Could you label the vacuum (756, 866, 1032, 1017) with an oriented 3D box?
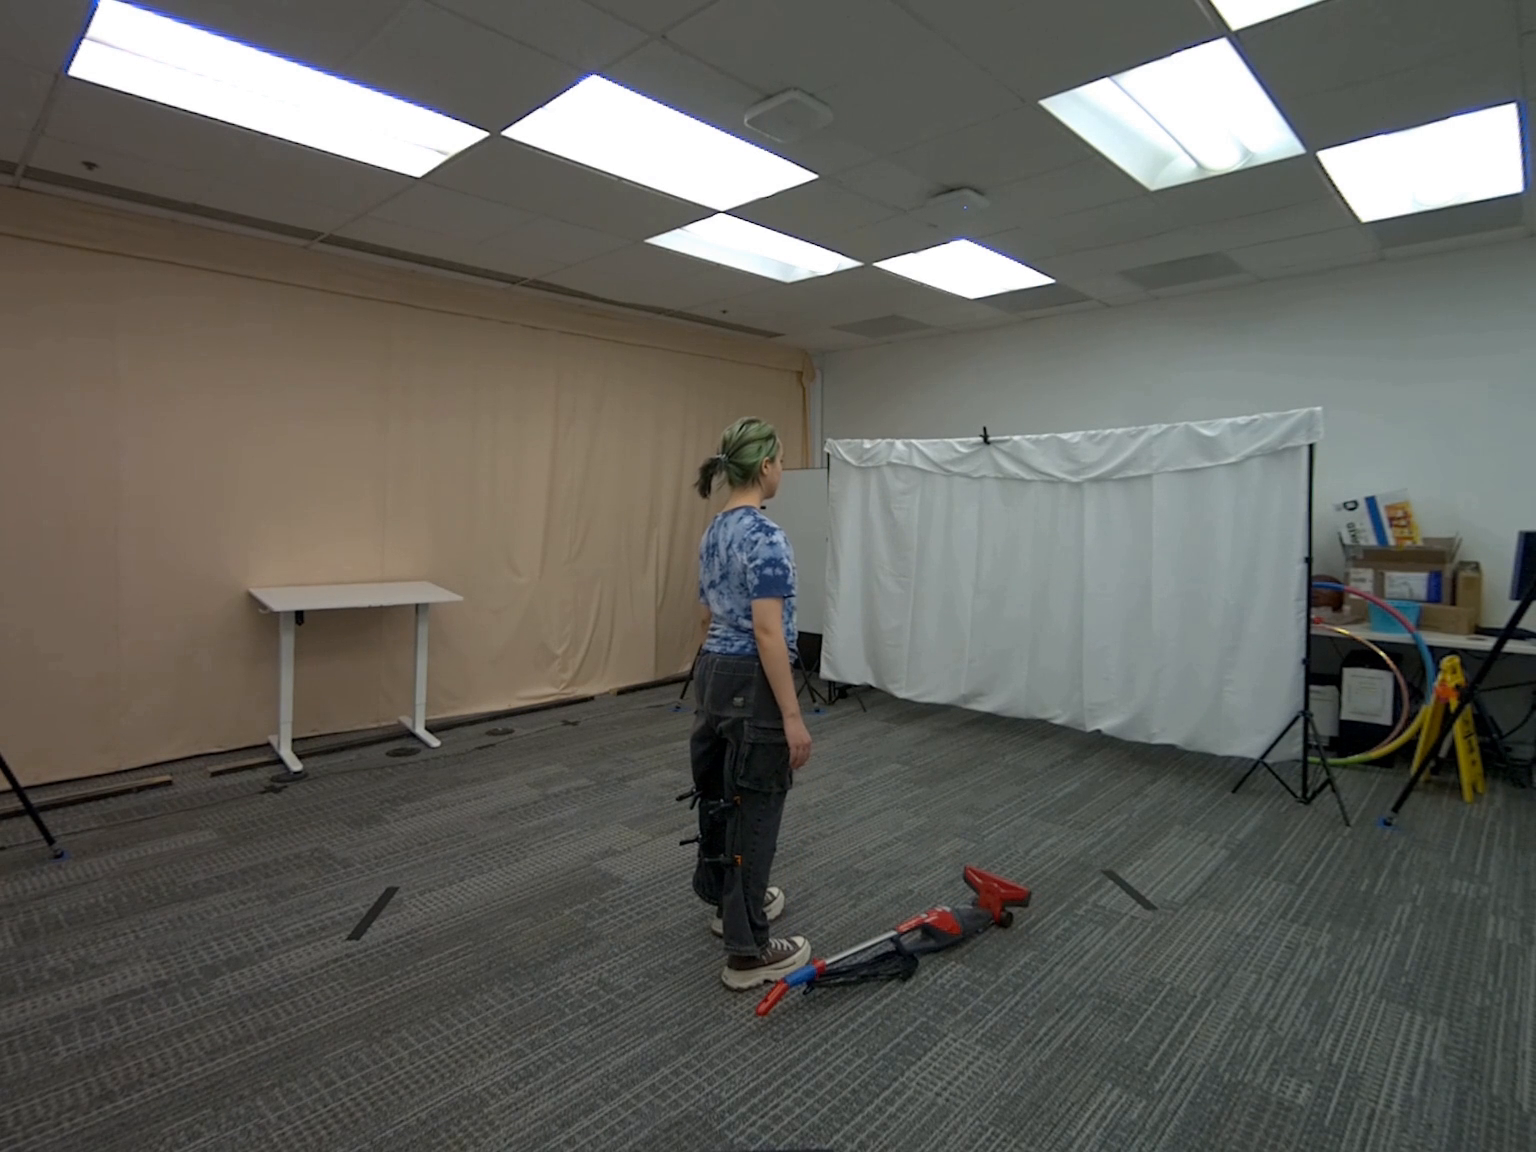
[{"bbox_3d":[0.382,1.122,2.524,1.019,0.144,0.260,-6,4,-38],"label":"vacuum"}]
